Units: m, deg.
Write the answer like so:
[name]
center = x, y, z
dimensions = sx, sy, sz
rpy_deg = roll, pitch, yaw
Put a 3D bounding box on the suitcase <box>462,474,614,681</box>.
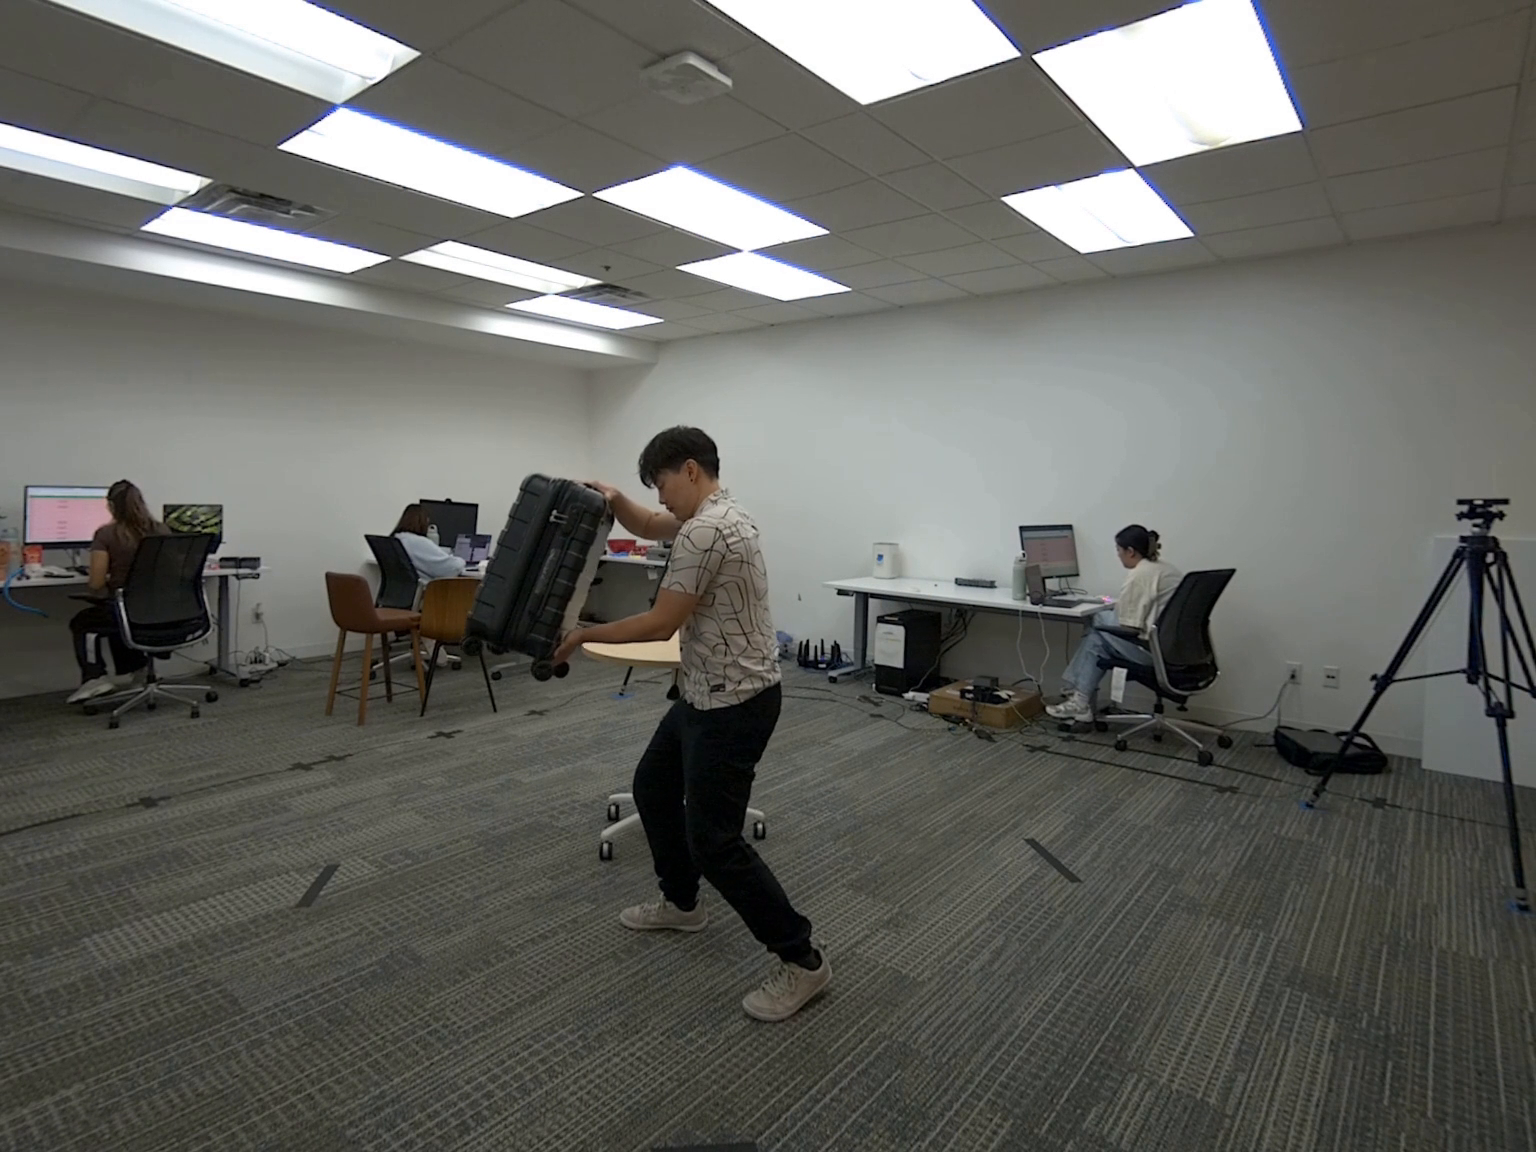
[suitcase]
center = -0.652, -0.008, 2.451
dimensions = 0.249, 0.551, 0.374
rpy_deg = 20, -6, -1
